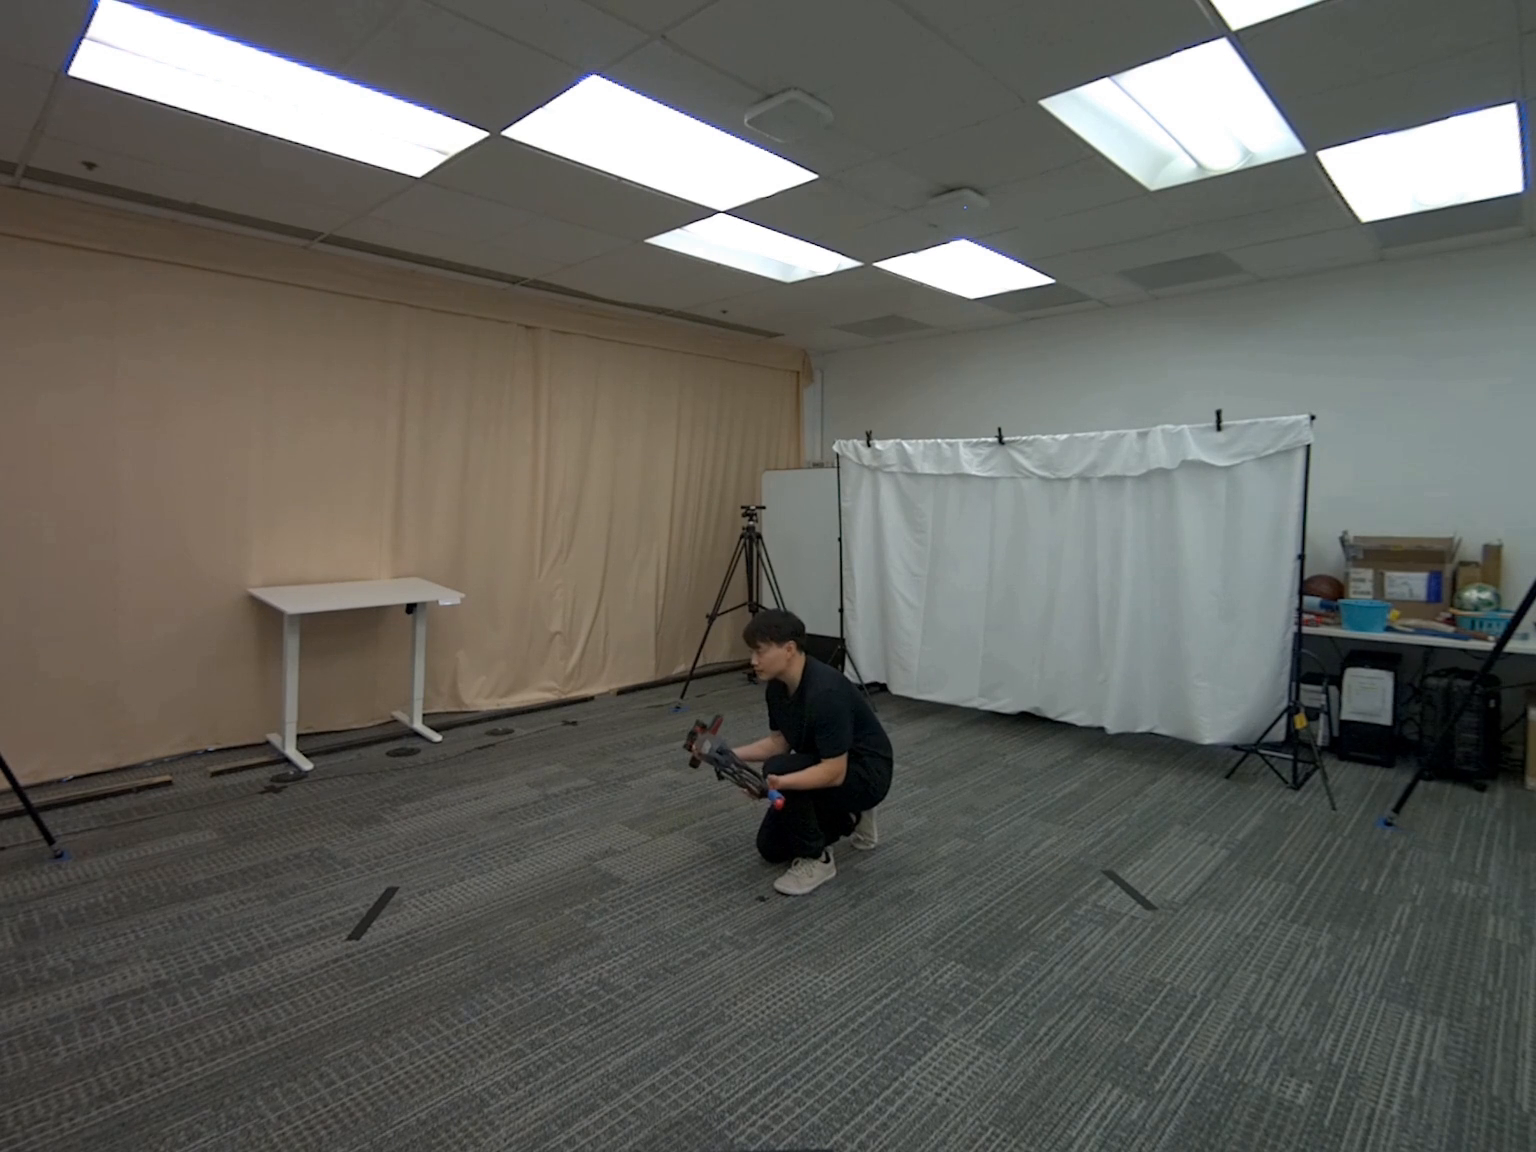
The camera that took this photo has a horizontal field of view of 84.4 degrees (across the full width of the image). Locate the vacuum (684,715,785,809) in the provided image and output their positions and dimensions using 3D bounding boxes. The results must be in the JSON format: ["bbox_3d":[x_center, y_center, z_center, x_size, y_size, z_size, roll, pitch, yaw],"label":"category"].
[{"bbox_3d":[-0.132,0.700,3.099,0.141,0.253,1.065,28,-8,-15],"label":"vacuum"}]
